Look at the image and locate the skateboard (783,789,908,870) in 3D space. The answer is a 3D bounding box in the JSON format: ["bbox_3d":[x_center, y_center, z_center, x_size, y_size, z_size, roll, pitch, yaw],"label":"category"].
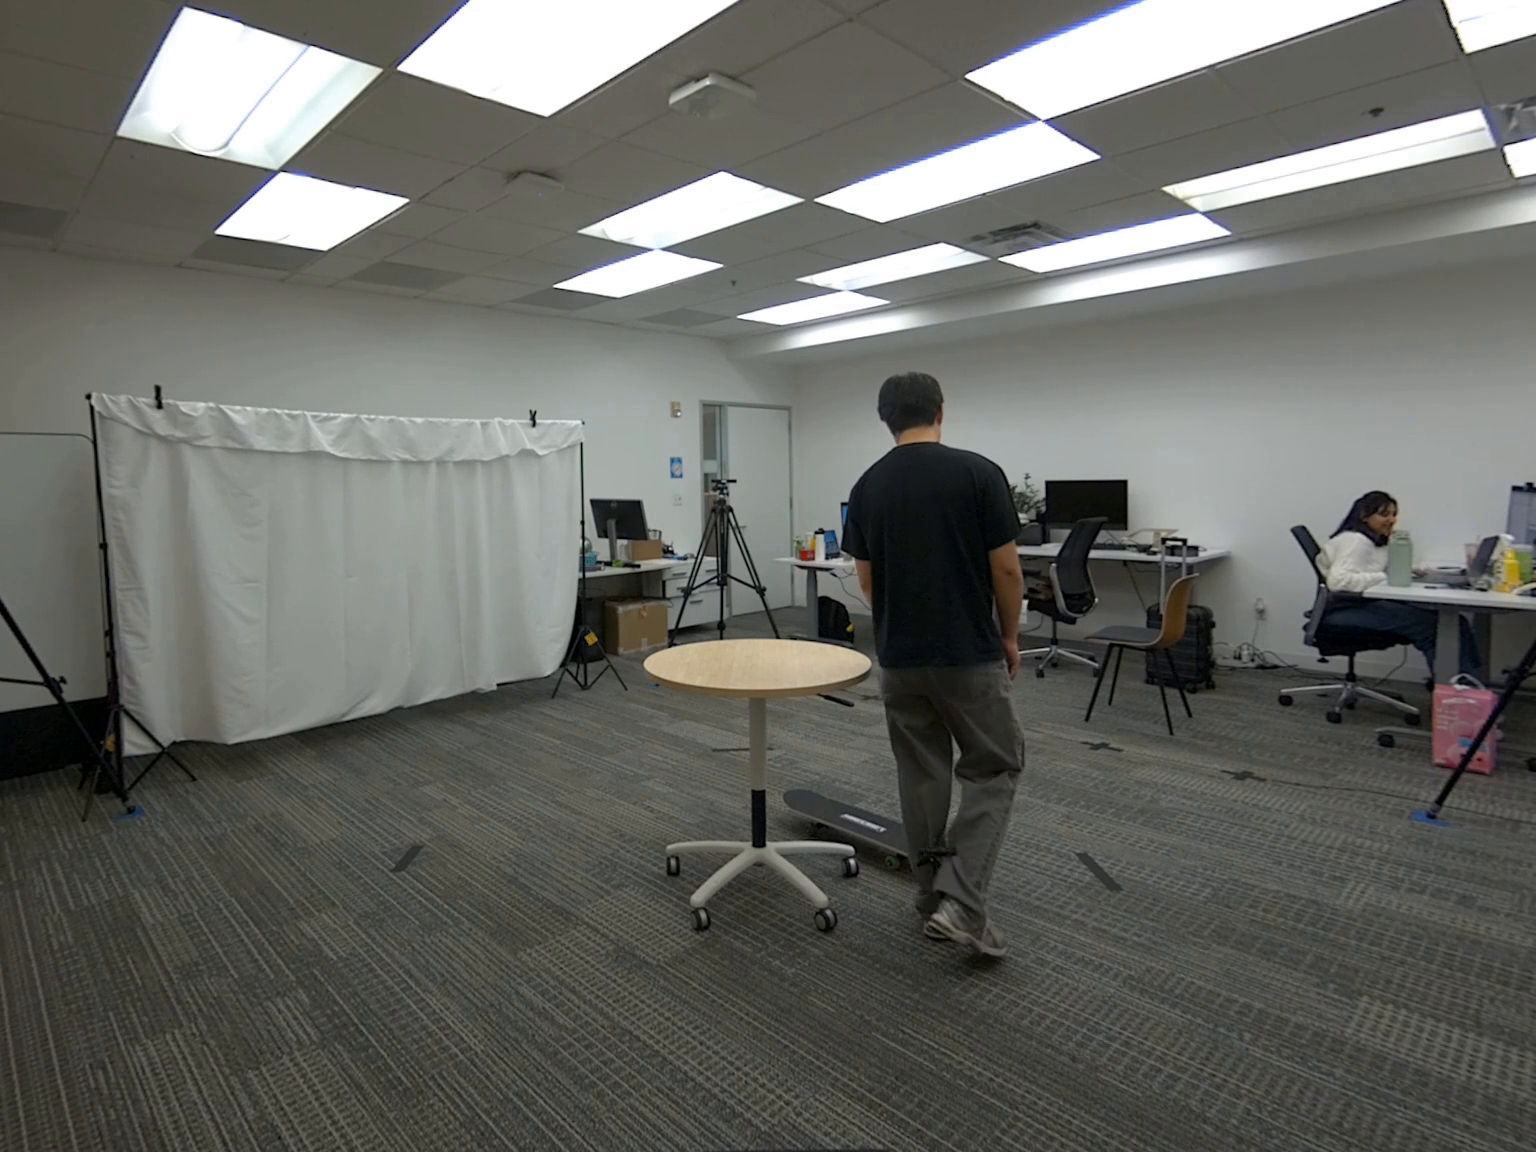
[{"bbox_3d":[0.366,0.972,3.238,0.188,0.110,0.810,-7,9,-42],"label":"skateboard"}]
